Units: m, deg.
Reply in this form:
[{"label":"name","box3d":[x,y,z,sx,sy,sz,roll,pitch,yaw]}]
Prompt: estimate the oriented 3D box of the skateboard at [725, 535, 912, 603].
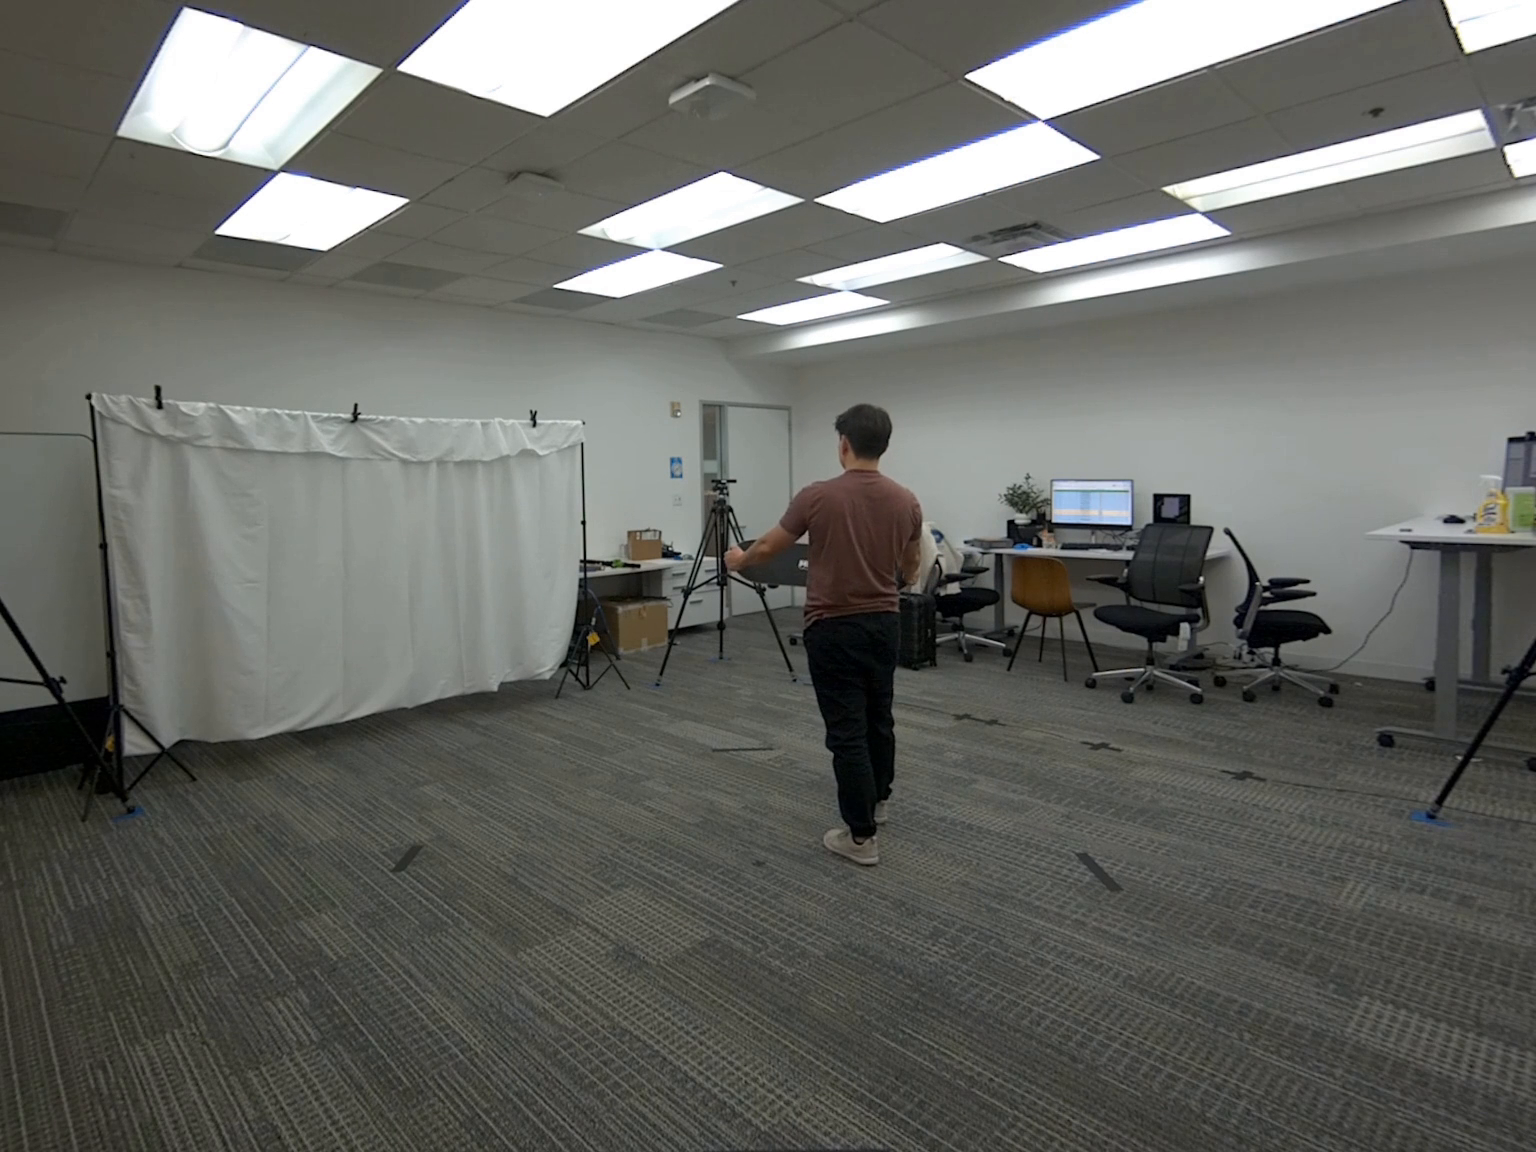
[{"label":"skateboard","box3d":[0.212,-0.029,3.655,0.777,0.197,0.109,5,-23,-10]}]
